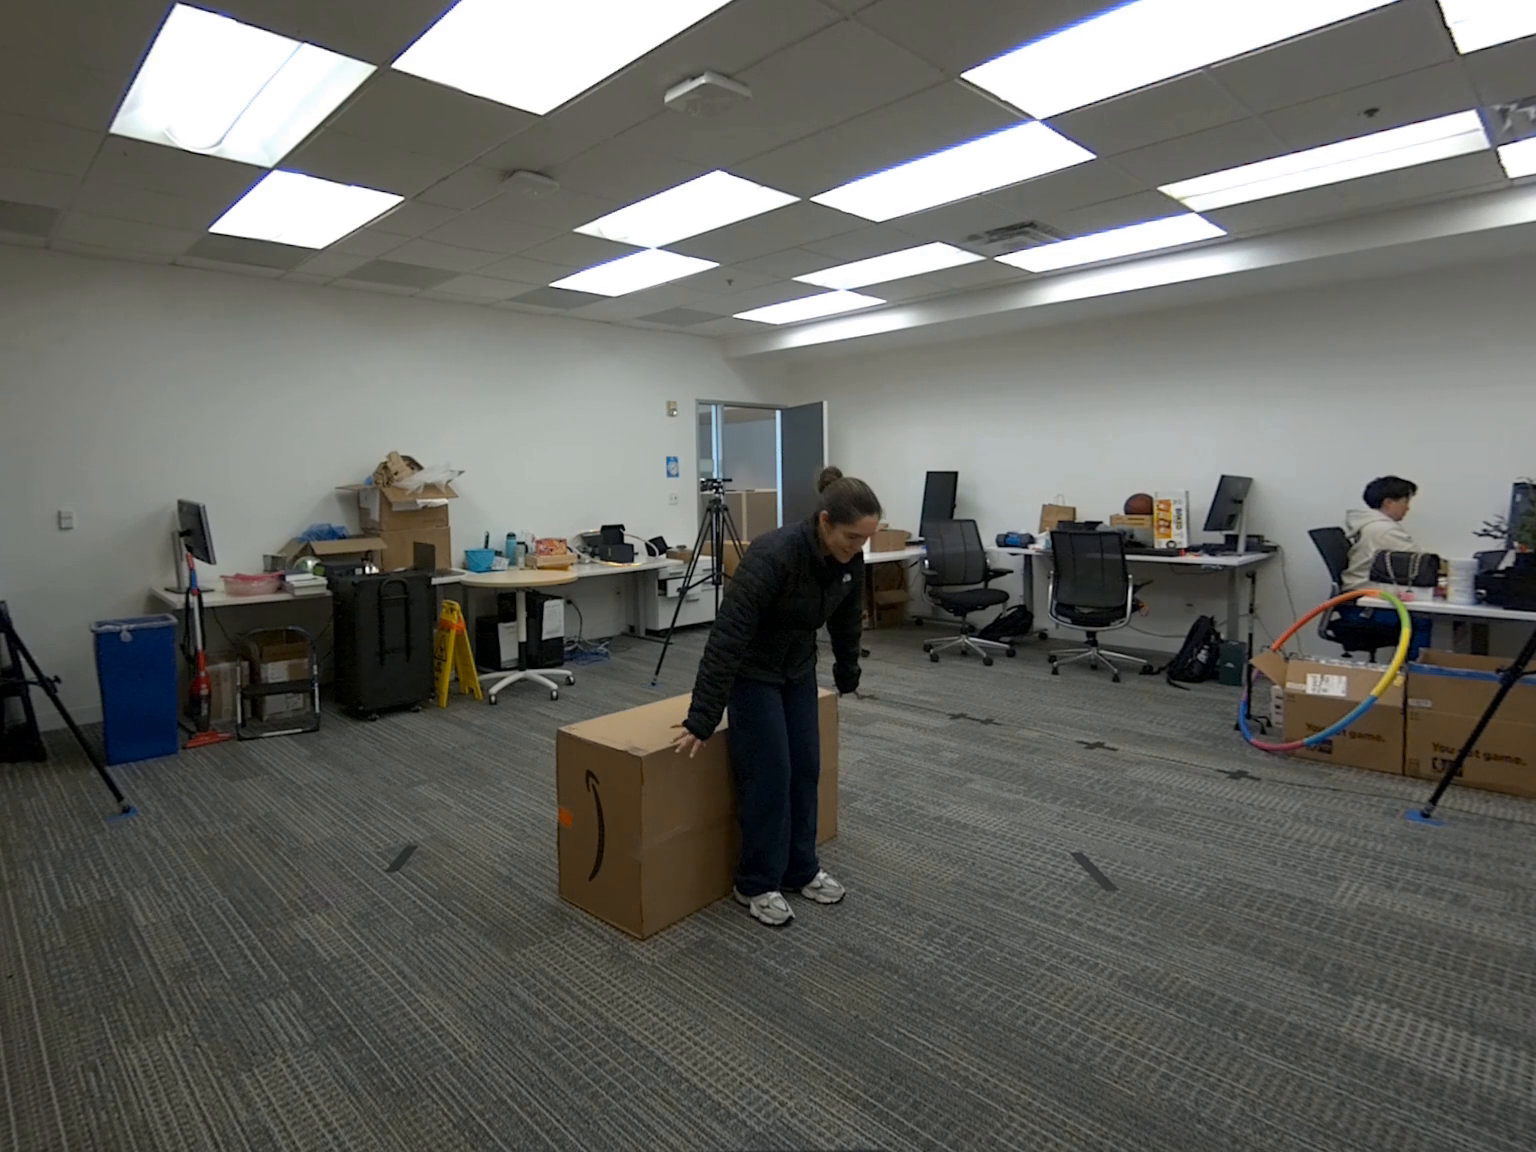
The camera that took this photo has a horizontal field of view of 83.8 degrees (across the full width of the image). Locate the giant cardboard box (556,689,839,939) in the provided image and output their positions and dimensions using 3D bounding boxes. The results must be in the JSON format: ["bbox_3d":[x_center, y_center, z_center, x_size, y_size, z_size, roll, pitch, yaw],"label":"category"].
[{"bbox_3d":[-0.222,0.764,3.100,0.439,0.575,0.999,5,7,41],"label":"giant cardboard box"}]
